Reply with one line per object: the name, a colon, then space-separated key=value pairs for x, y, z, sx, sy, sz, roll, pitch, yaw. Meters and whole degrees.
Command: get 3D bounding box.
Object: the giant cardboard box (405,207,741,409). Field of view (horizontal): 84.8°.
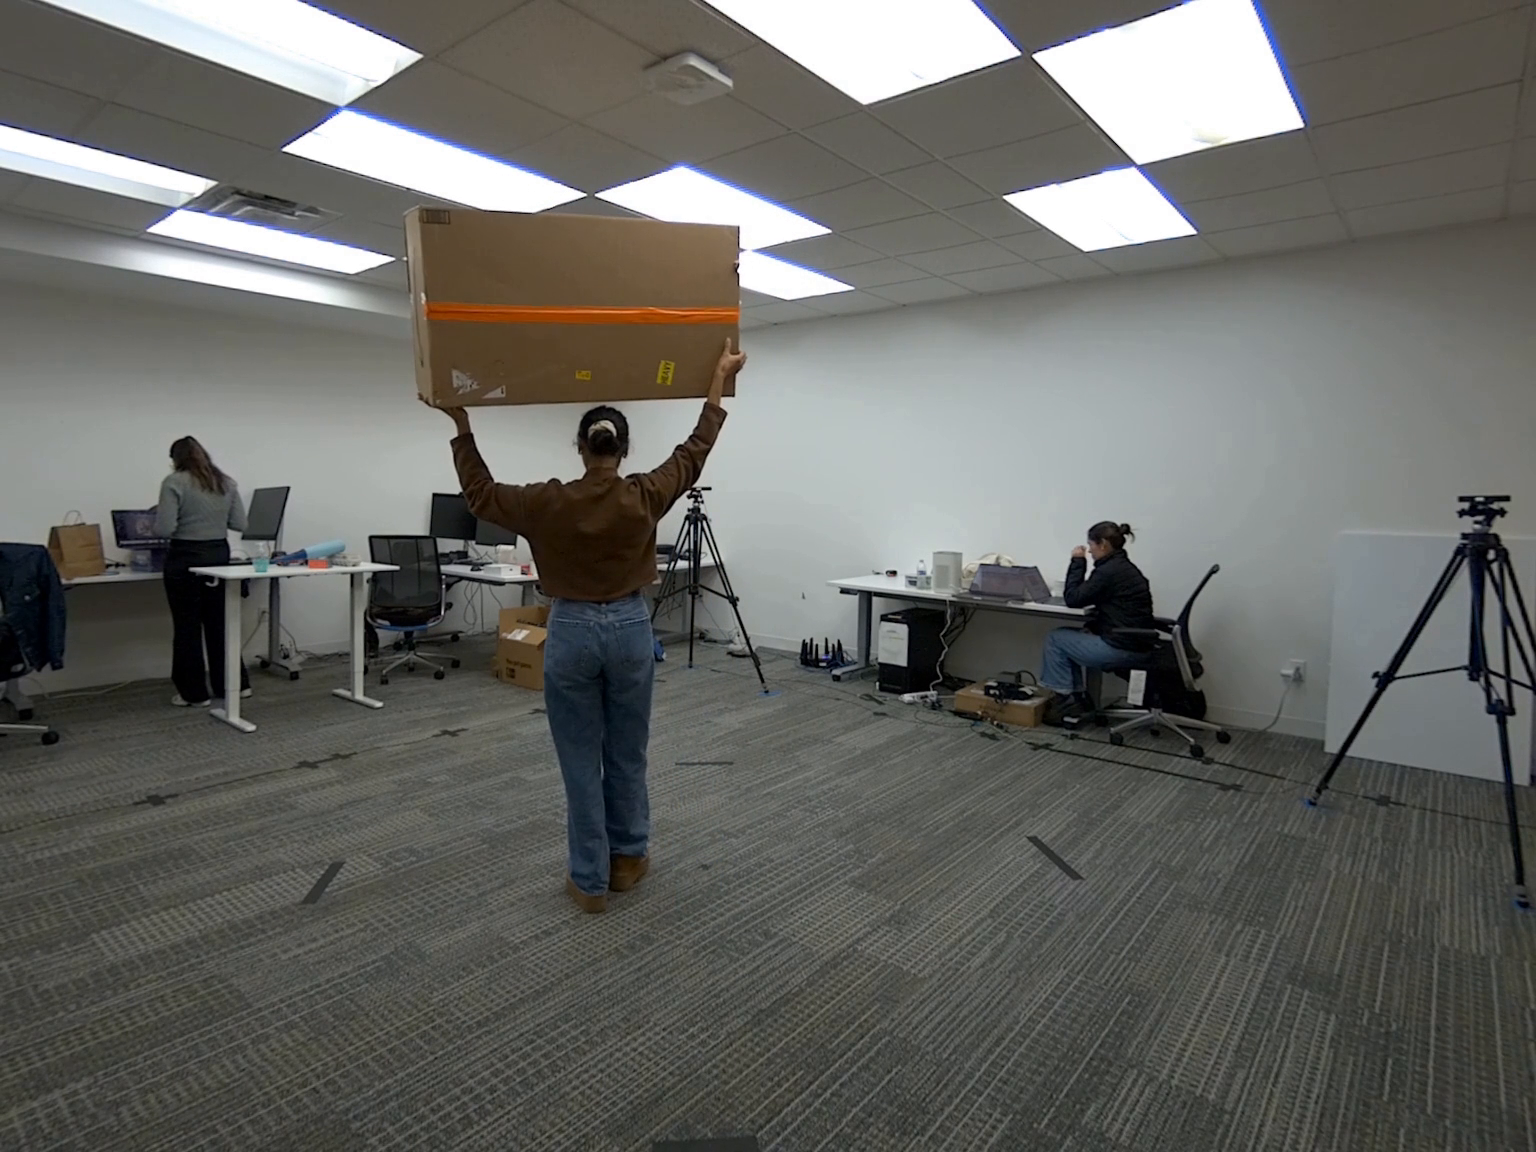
giant cardboard box: x=-0.655 y=-0.900 z=2.871 sx=1.004 sy=0.568 sz=0.442 roll=-7 pitch=21 yaw=-25
